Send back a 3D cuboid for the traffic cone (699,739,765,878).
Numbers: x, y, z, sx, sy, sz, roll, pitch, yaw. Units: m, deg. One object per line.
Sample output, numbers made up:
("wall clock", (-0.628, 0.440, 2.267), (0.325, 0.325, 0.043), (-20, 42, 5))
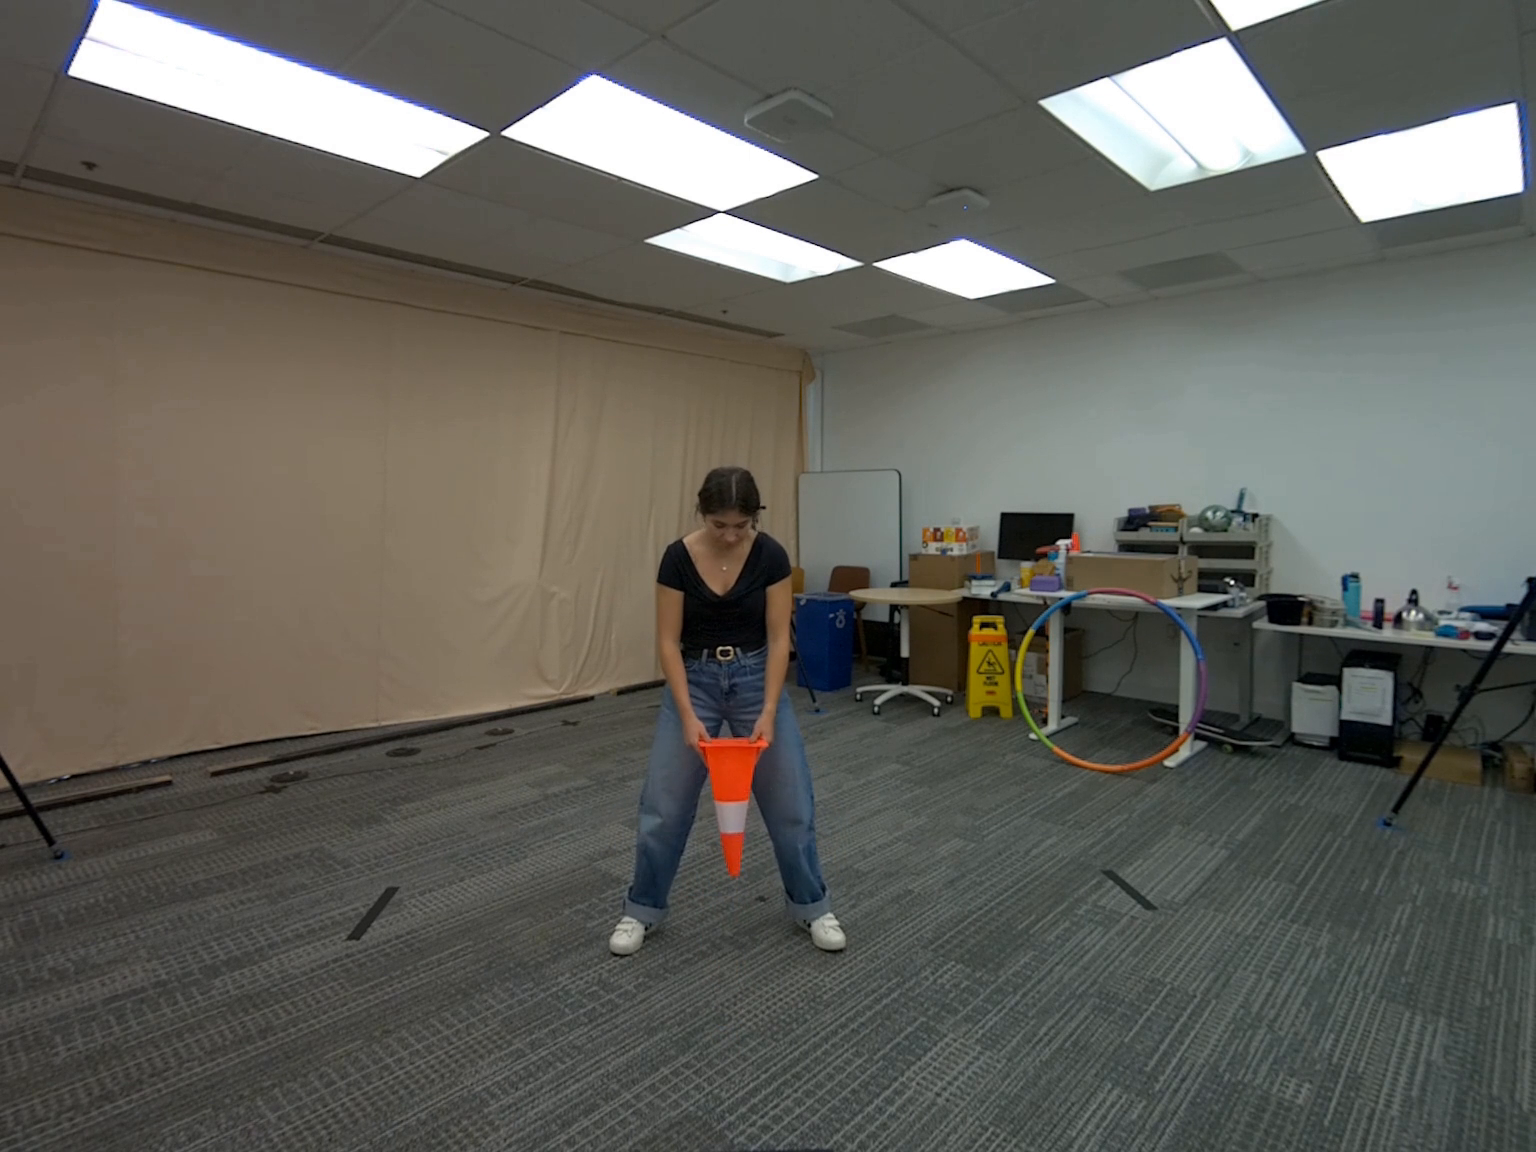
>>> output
("traffic cone", (-0.100, 0.697, 2.468), (0.202, 0.386, 0.205), (-4, -9, -5))
